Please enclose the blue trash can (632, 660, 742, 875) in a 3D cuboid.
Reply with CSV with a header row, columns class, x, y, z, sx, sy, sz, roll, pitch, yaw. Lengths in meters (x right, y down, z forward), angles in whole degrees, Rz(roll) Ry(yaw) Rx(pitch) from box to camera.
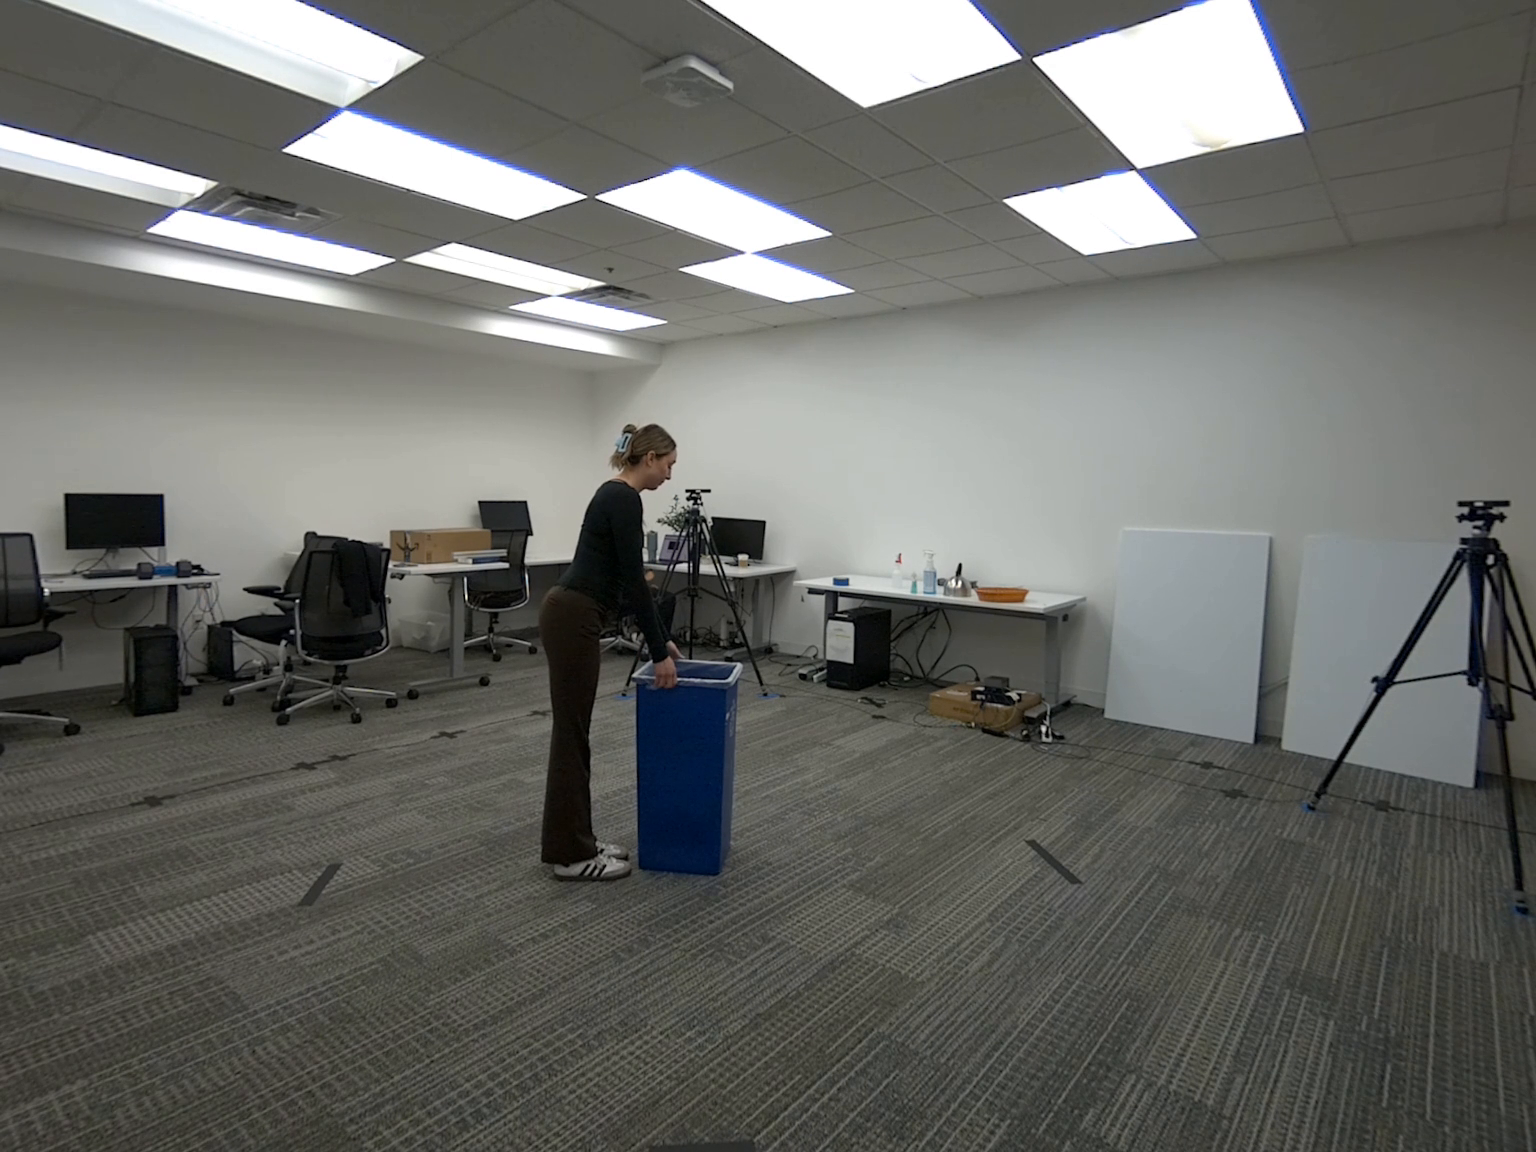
class,x,y,z,sx,sy,sz,roll,pitch,yaw
blue trash can,-0.319,0.705,3.221,0.381,0.711,0.372,2,4,6
